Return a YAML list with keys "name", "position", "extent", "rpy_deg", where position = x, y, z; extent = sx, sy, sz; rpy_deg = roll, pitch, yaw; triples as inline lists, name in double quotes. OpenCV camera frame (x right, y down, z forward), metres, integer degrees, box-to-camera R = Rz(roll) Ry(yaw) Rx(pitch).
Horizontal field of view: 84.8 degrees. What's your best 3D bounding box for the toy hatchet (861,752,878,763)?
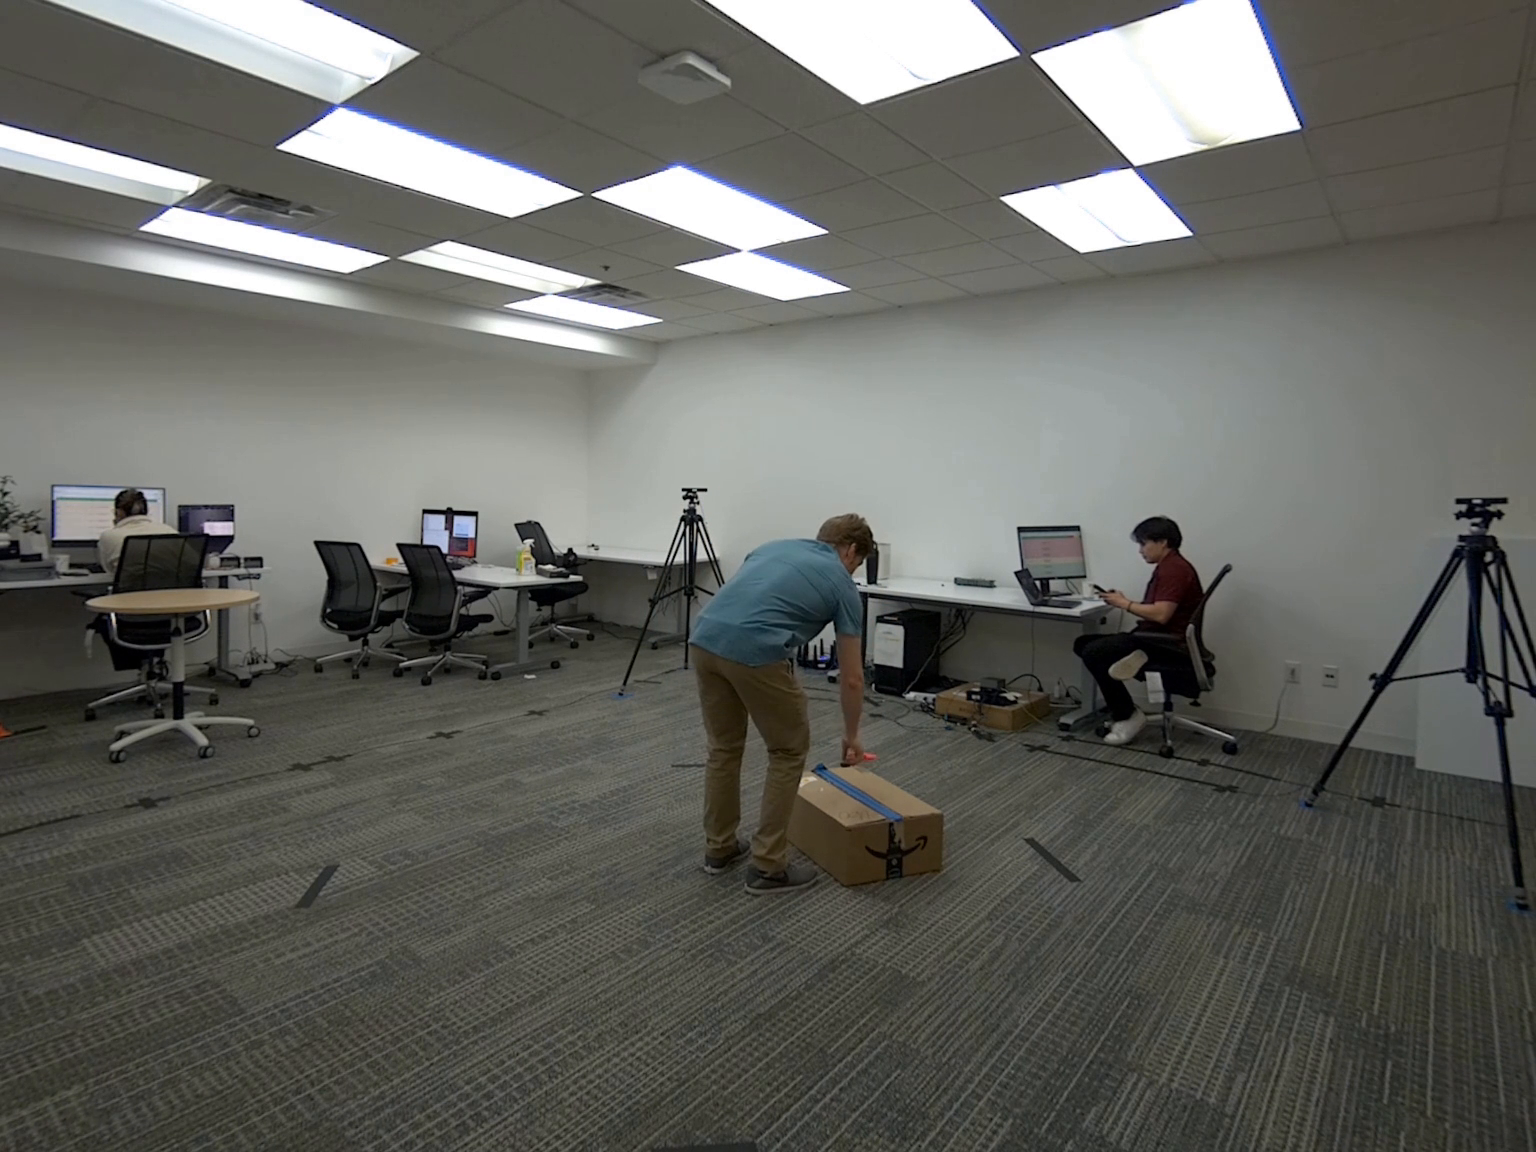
- name: "toy hatchet"
  position: [0.328, 0.687, 3.239]
  extent: [0.133, 0.030, 0.265]
  rpy_deg: [0, -3, 13]
